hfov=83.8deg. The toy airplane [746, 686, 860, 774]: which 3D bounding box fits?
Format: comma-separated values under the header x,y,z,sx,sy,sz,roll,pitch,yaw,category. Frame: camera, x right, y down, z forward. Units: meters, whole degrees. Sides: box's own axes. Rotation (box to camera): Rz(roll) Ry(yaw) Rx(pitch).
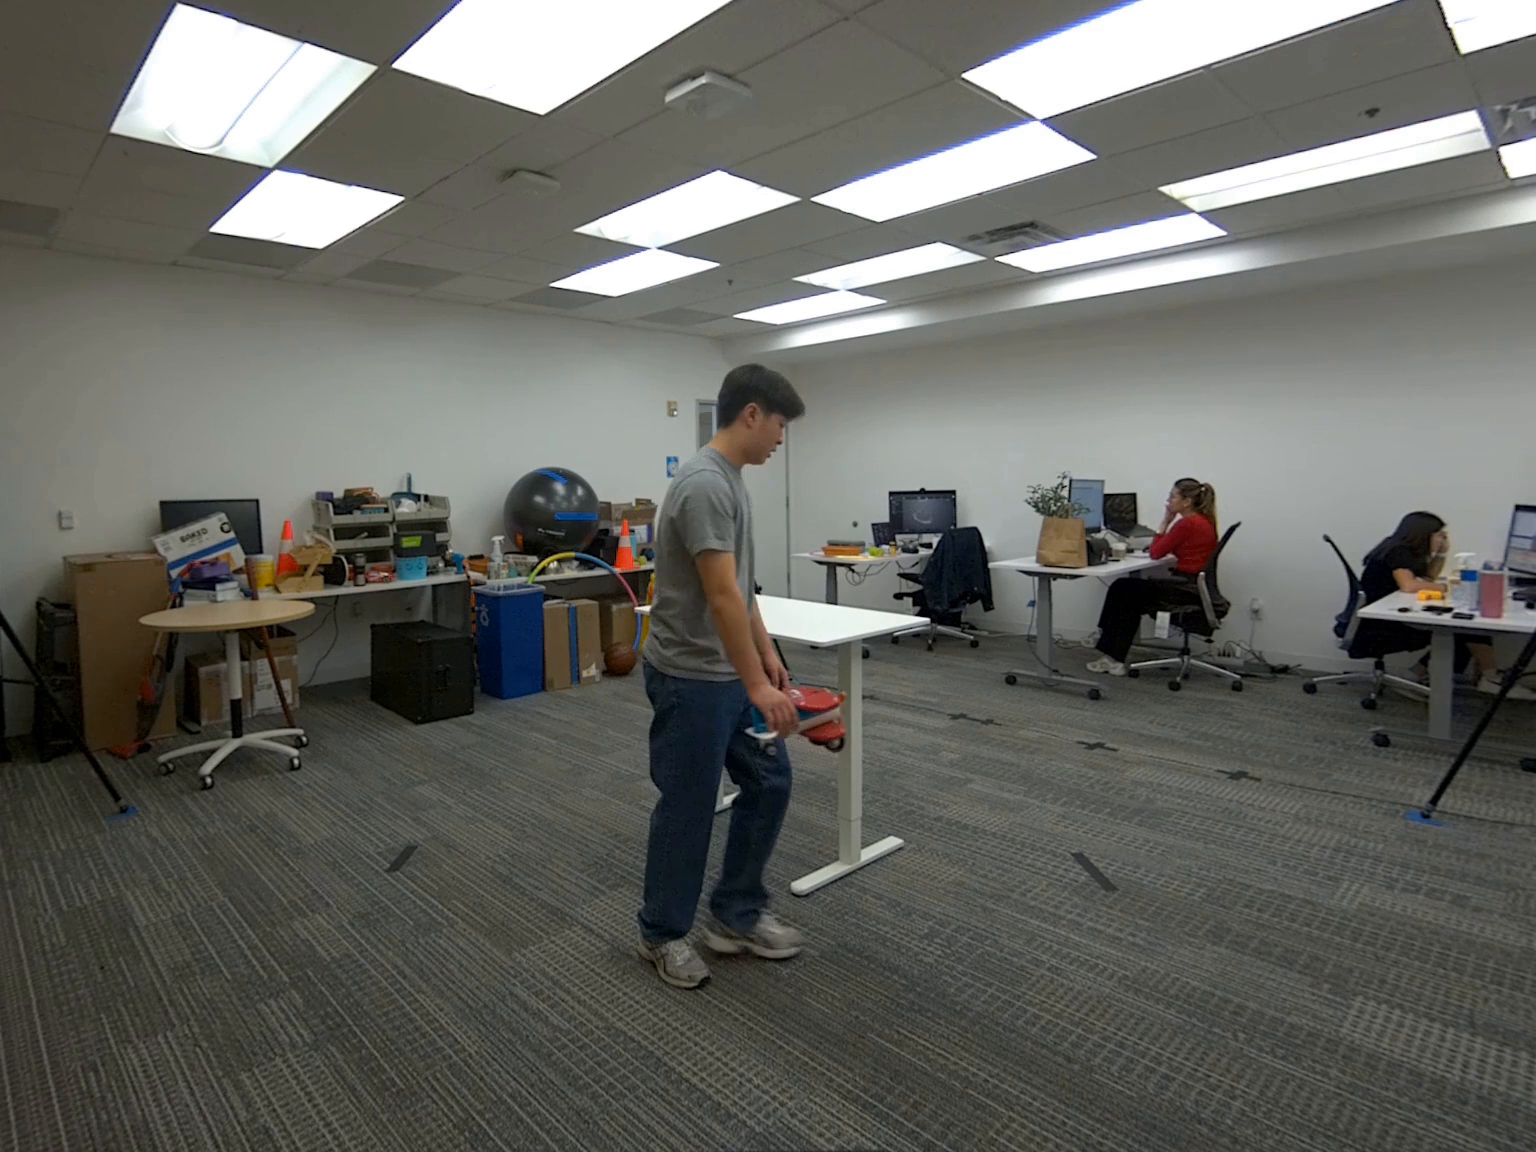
x,y,z,sx,sy,sz,roll,pitch,yaw,category
0.059,0.391,2.236,0.258,0.156,0.252,0,1,40,toy airplane
